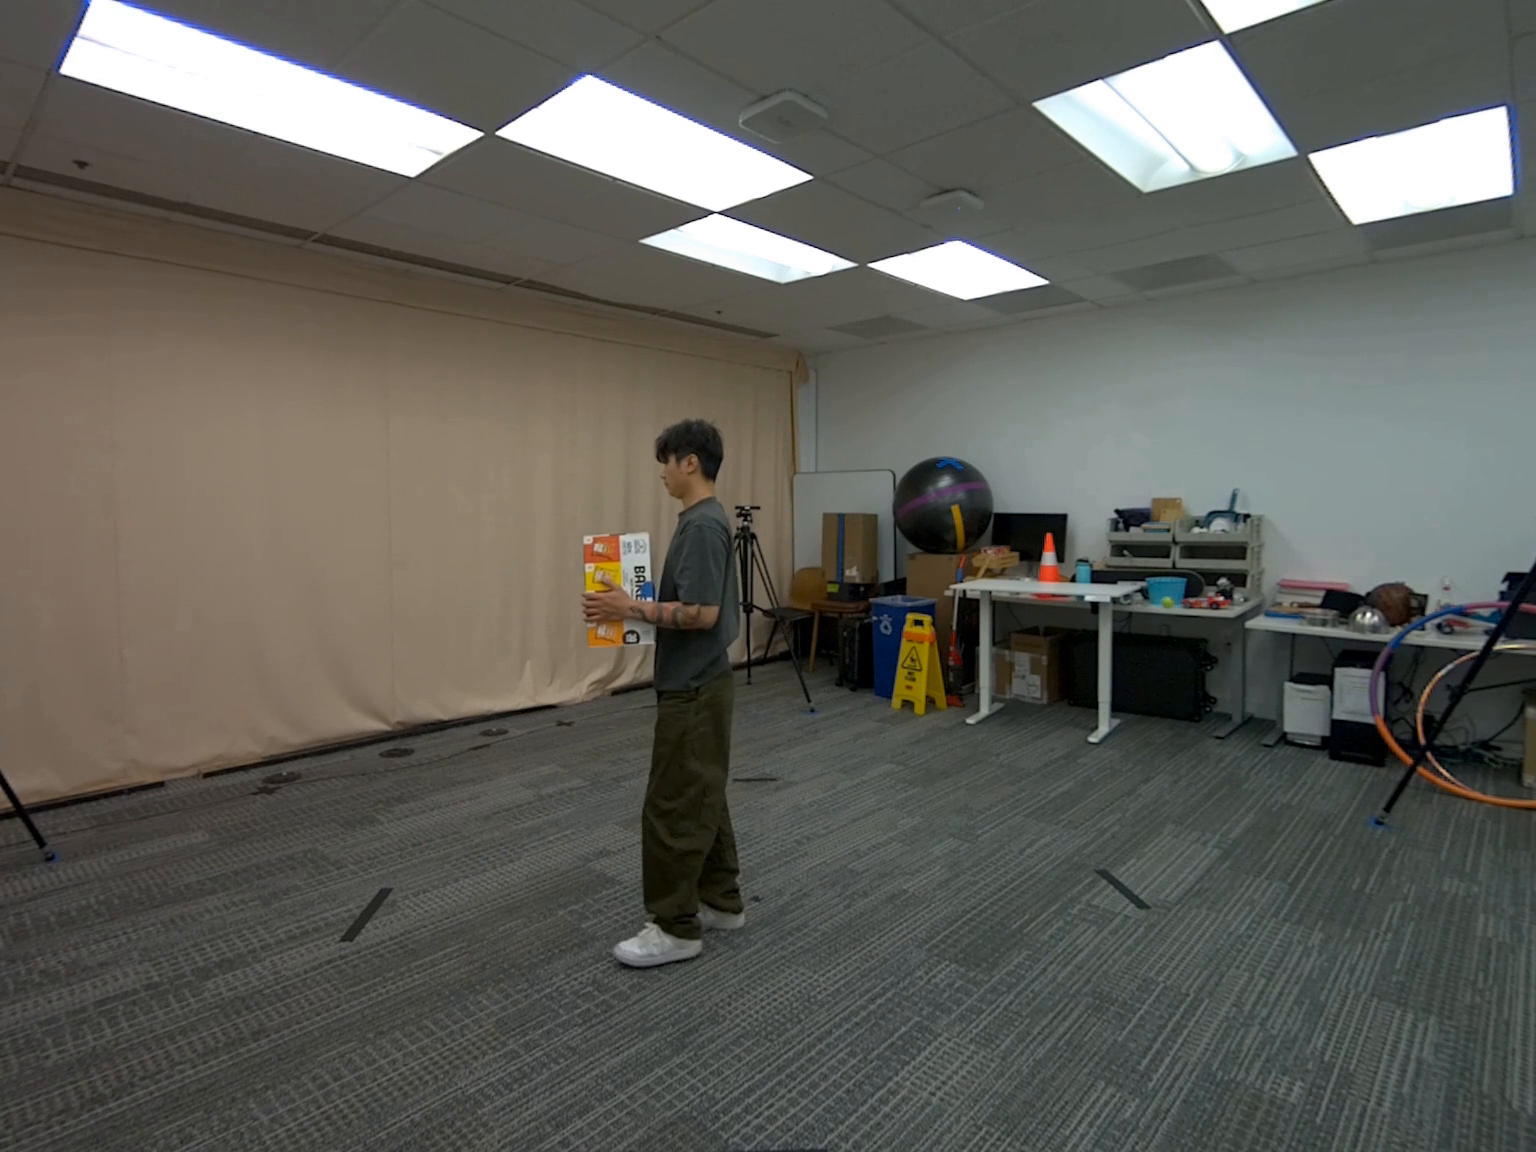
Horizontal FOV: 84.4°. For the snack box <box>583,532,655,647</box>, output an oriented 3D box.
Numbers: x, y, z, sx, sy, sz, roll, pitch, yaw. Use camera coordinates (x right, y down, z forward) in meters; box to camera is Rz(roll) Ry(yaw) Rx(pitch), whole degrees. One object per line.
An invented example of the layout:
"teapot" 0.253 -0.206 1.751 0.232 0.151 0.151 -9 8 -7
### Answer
"snack box" -0.479 0.052 2.754 0.204 0.341 0.407 -2 -3 -8
